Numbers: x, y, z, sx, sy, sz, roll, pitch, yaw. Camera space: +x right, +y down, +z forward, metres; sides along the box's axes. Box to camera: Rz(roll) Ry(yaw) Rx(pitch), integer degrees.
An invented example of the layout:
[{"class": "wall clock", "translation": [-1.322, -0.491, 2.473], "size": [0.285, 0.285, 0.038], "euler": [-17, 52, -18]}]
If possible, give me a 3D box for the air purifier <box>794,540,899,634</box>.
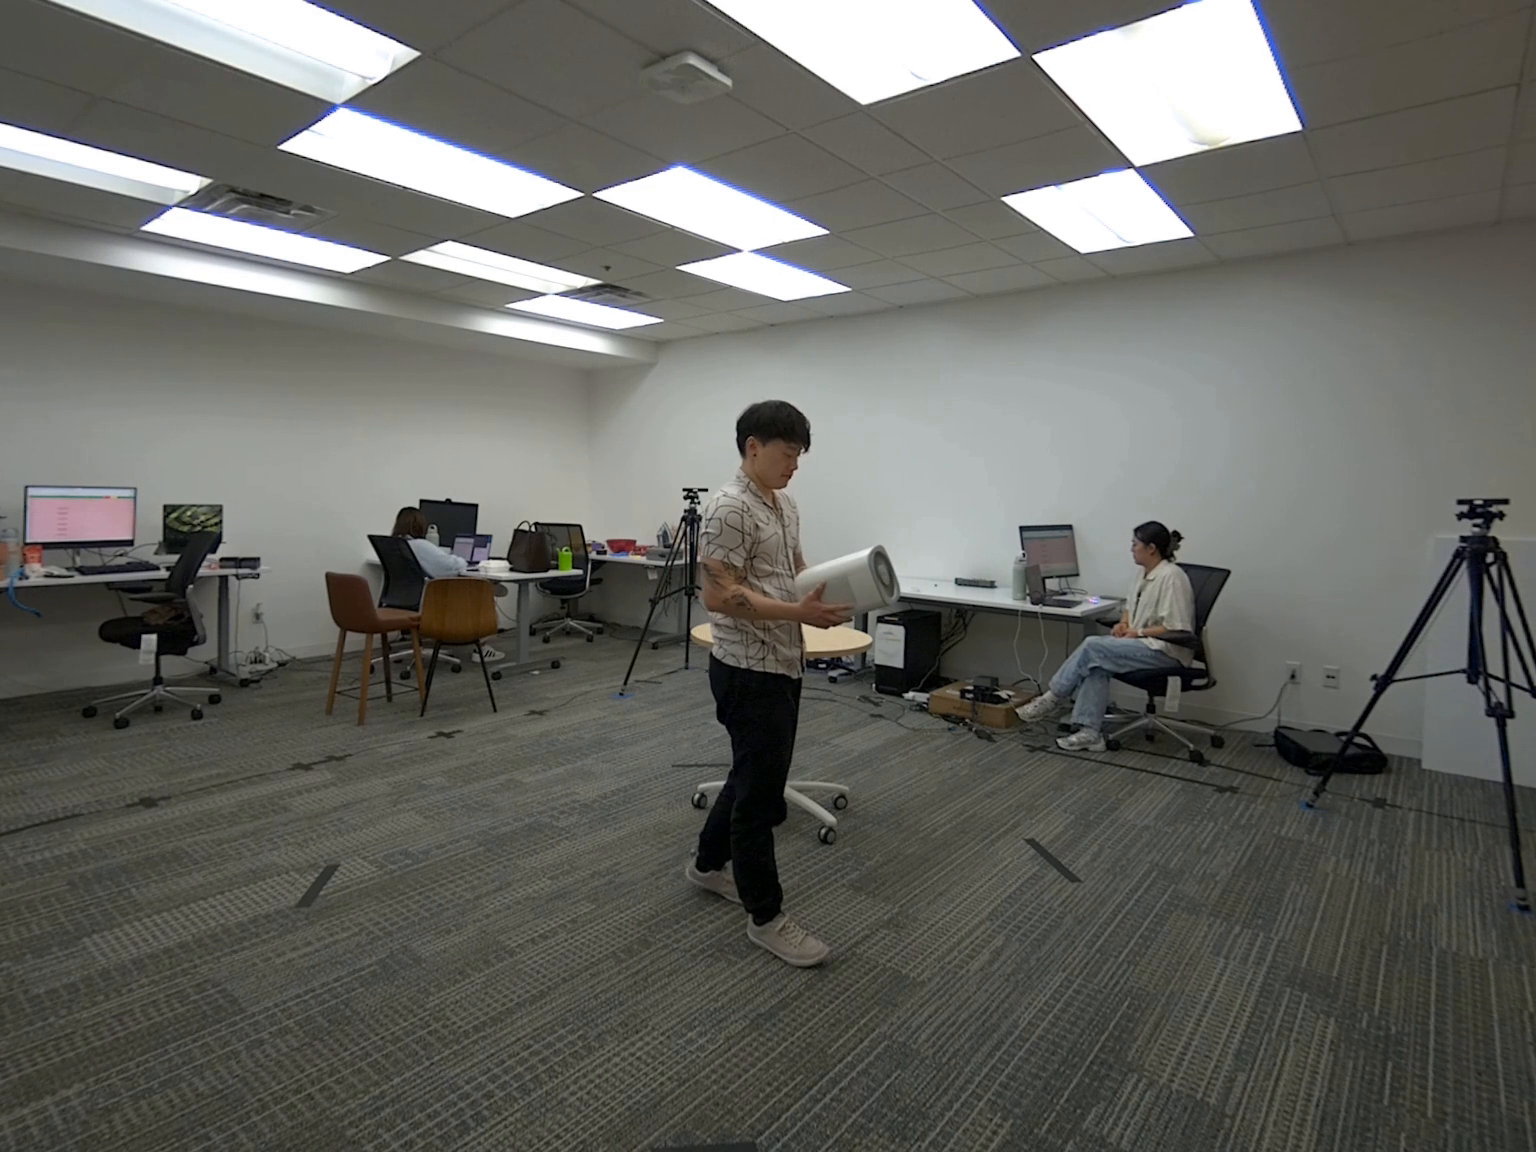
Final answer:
[{"class": "air purifier", "translation": [0.213, 0.030, 2.516], "size": [0.270, 0.171, 0.169], "euler": [-20, 5, 29]}]
